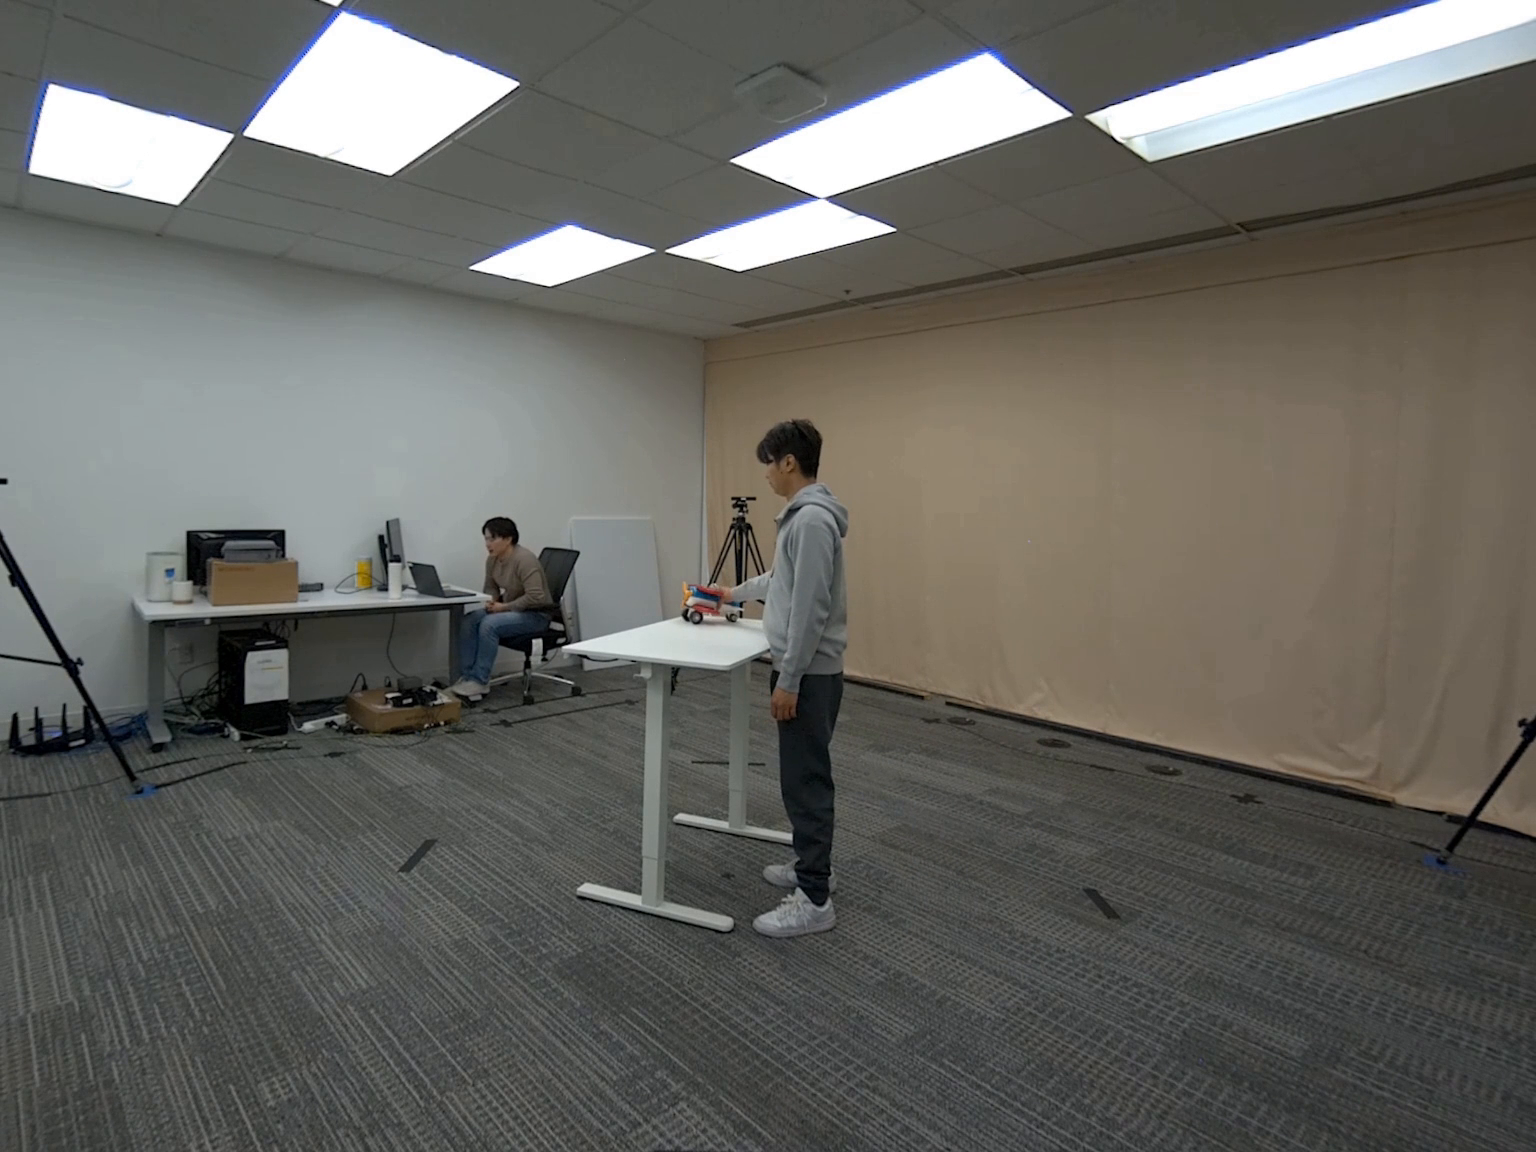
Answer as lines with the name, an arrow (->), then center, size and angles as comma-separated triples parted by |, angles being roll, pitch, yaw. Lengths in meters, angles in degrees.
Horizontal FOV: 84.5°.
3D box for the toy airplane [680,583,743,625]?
toy airplane -> -0.252, 0.115, 3.492 | 0.257, 0.156, 0.253 | 6, 6, 37
